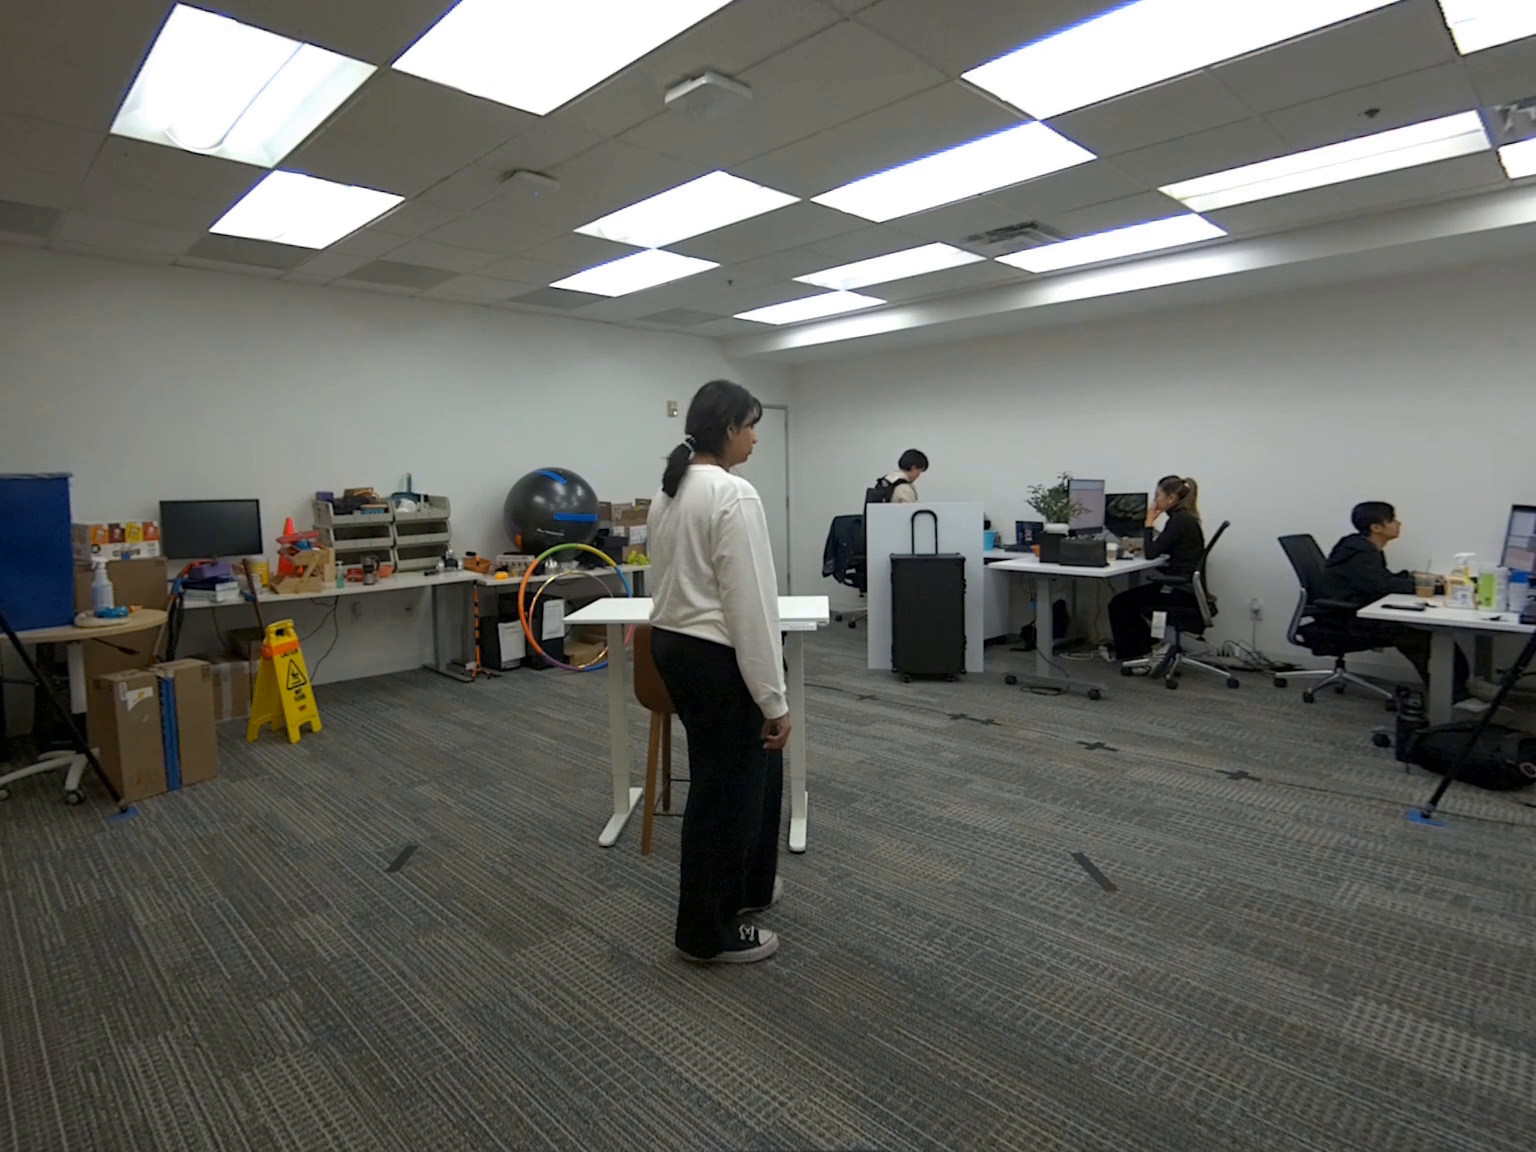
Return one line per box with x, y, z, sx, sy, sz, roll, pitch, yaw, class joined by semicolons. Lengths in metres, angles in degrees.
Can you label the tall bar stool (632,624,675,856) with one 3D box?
-0.285;0.591;3.356;0.460;0.885;0.466;-1;5;8;tall bar stool
